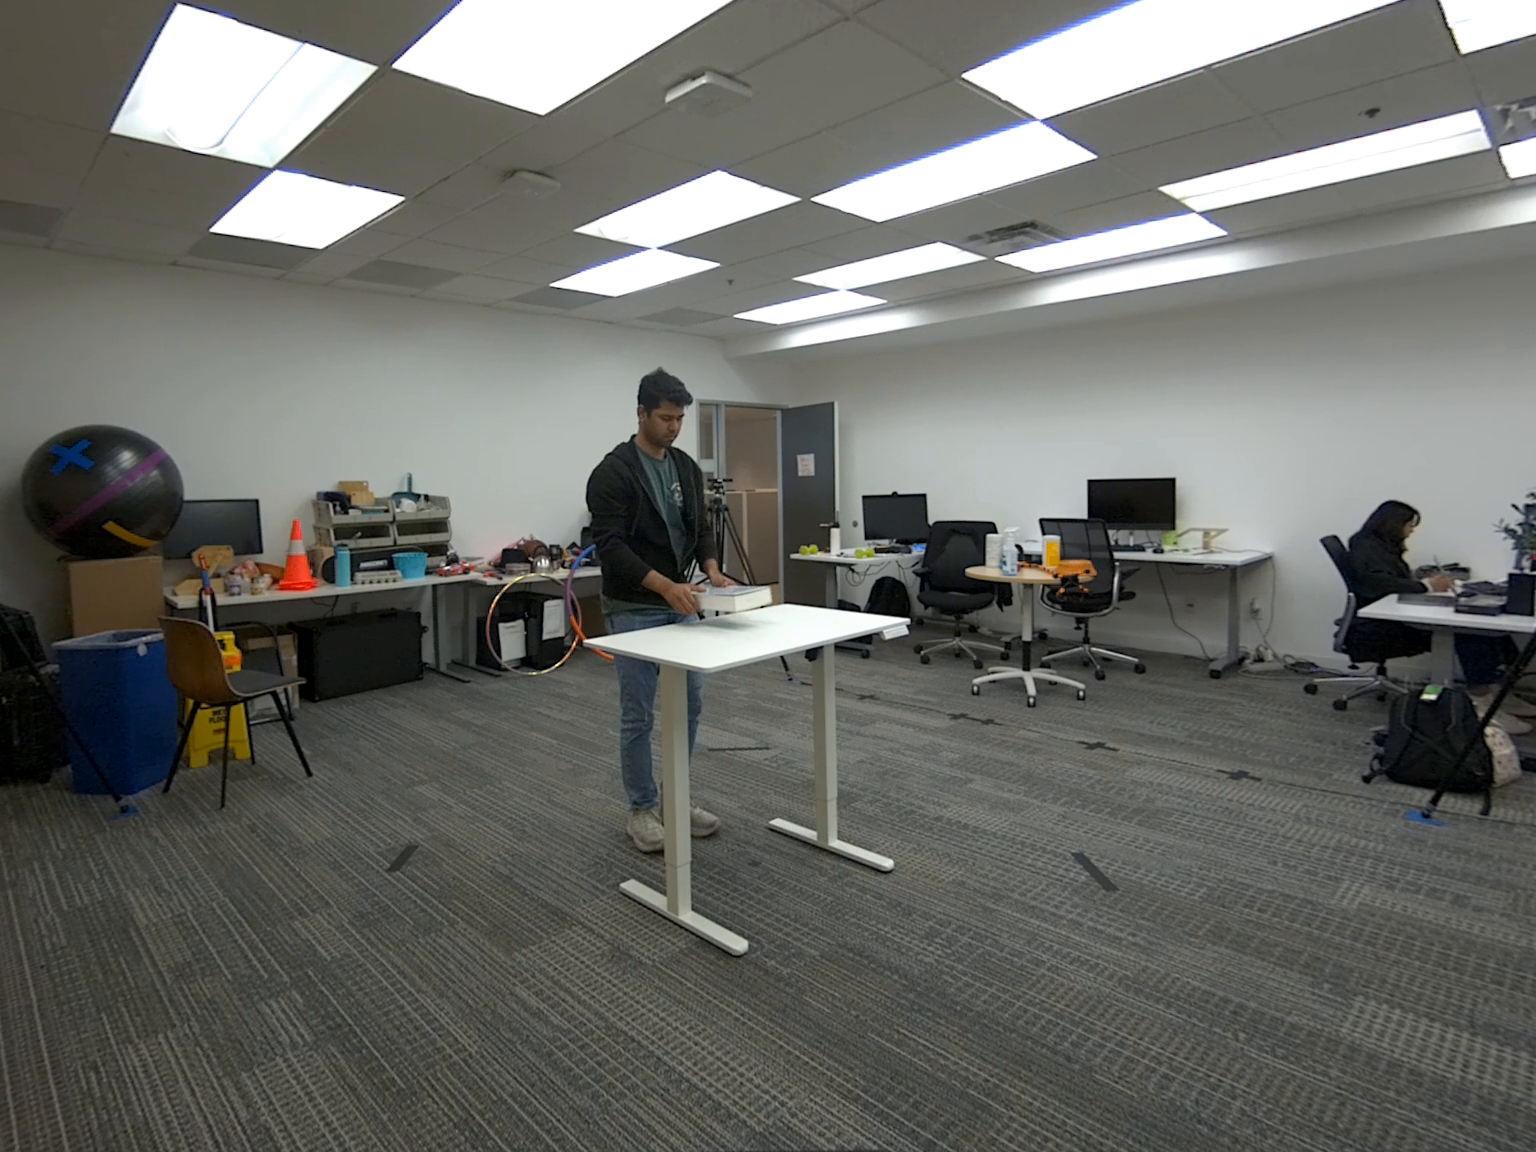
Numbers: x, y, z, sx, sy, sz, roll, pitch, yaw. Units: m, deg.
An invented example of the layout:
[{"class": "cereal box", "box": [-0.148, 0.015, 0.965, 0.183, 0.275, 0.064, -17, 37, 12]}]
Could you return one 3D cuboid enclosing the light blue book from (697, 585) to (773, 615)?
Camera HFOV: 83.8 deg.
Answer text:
[{"class": "light blue book", "box": [-0.159, 0.083, 3.024, 0.268, 0.059, 0.187, -1, 8, 41]}]
